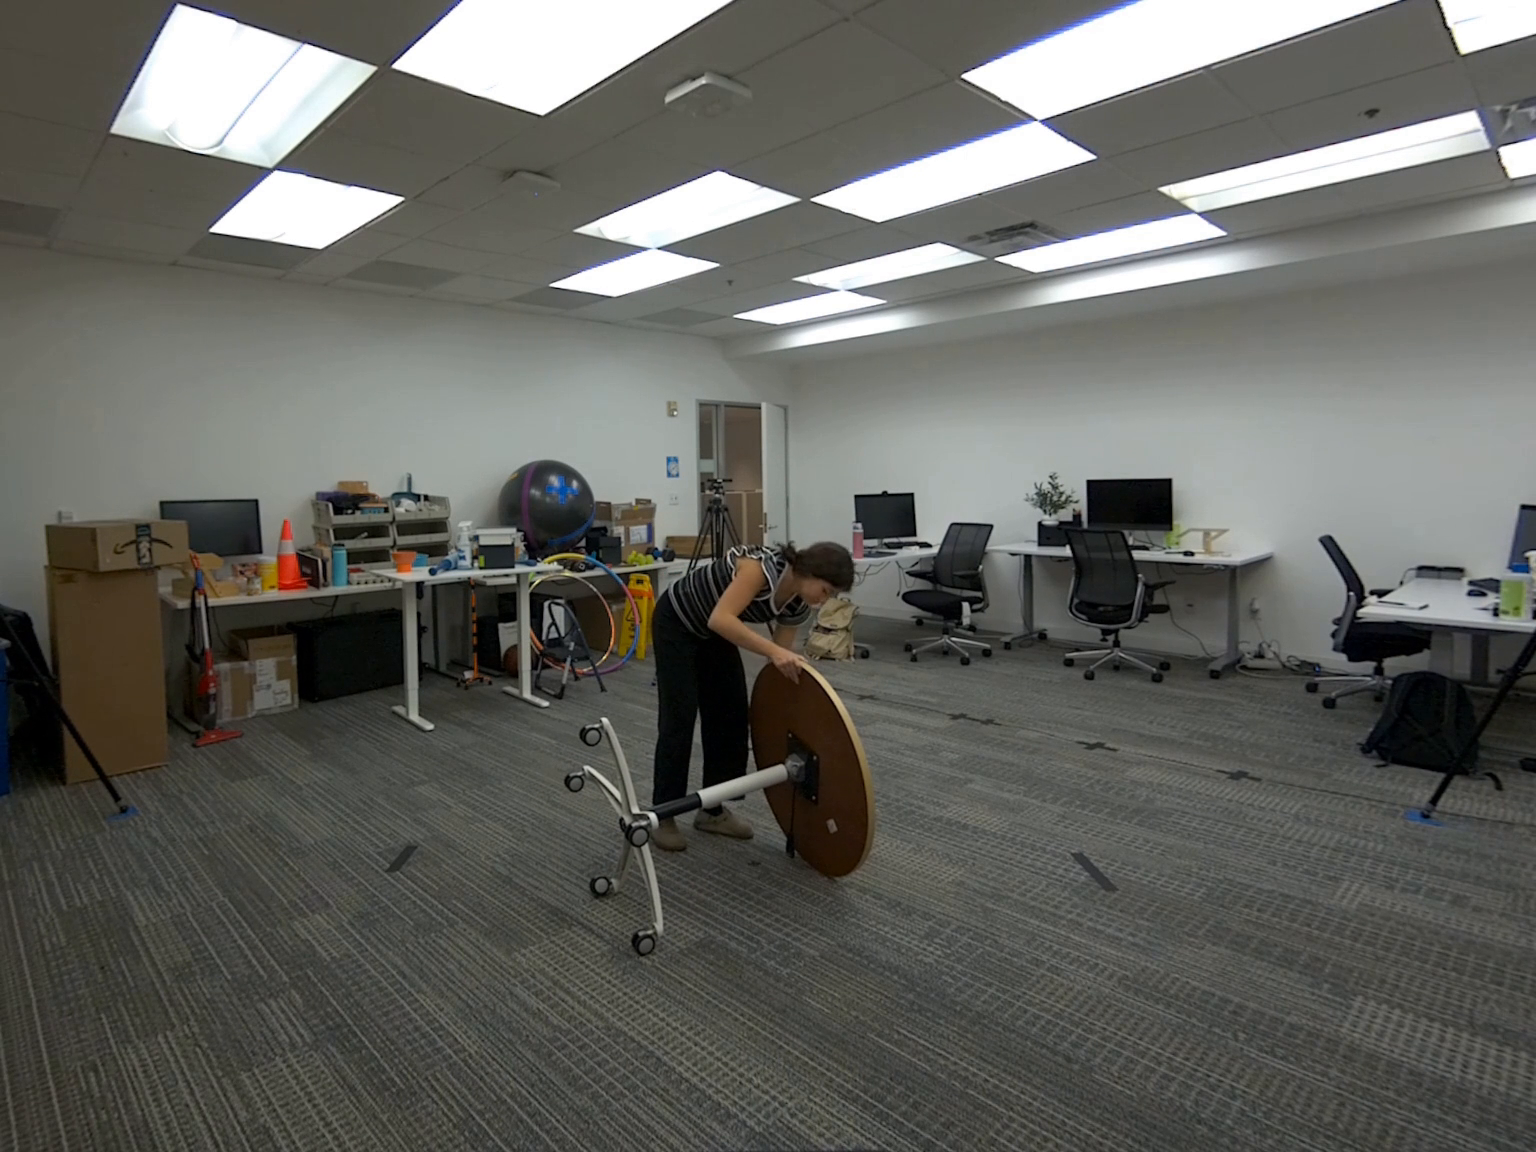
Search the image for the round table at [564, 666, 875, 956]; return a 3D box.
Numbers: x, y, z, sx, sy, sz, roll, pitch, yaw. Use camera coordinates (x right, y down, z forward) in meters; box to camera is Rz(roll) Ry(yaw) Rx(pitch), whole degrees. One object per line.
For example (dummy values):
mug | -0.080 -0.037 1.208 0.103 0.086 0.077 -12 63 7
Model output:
round table | -0.188 0.740 2.850 0.779 0.759 0.784 -10 8 -27
